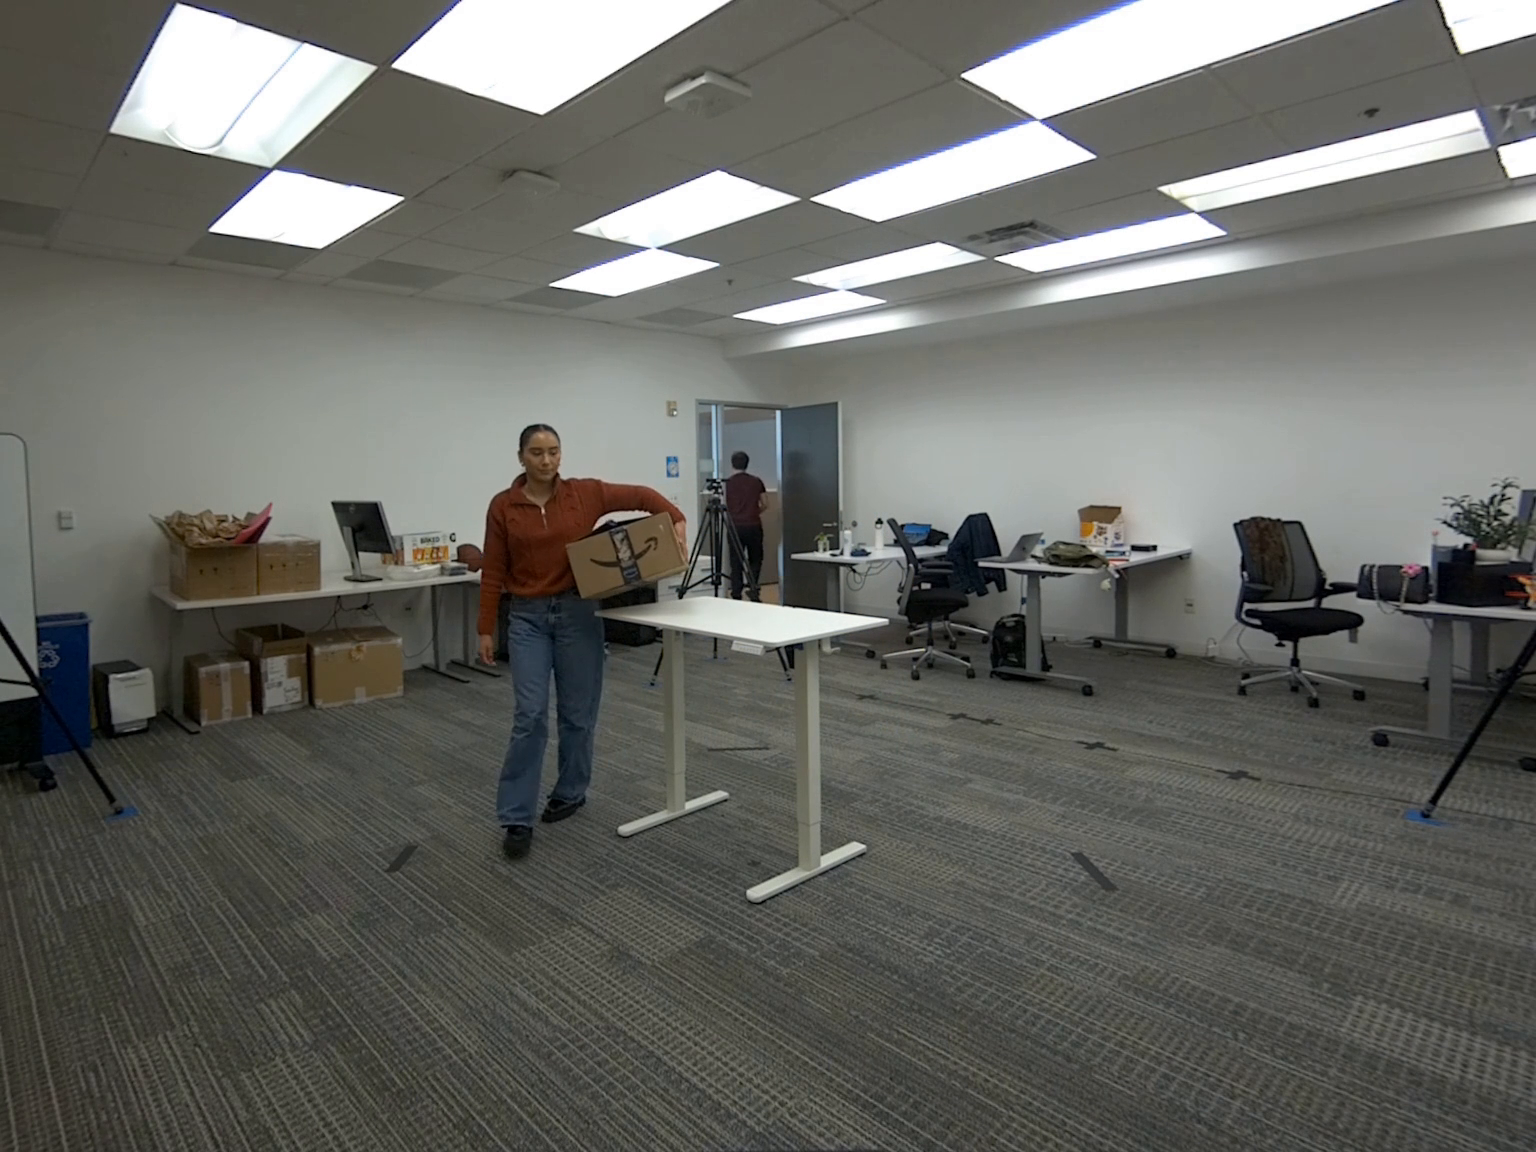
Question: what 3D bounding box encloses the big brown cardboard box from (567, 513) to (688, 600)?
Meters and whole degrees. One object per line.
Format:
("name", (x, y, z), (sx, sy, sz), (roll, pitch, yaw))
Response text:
("big brown cardboard box", (-0.561, -0.075, 3.501), (0.417, 0.234, 0.586), (-18, -3, -3))
